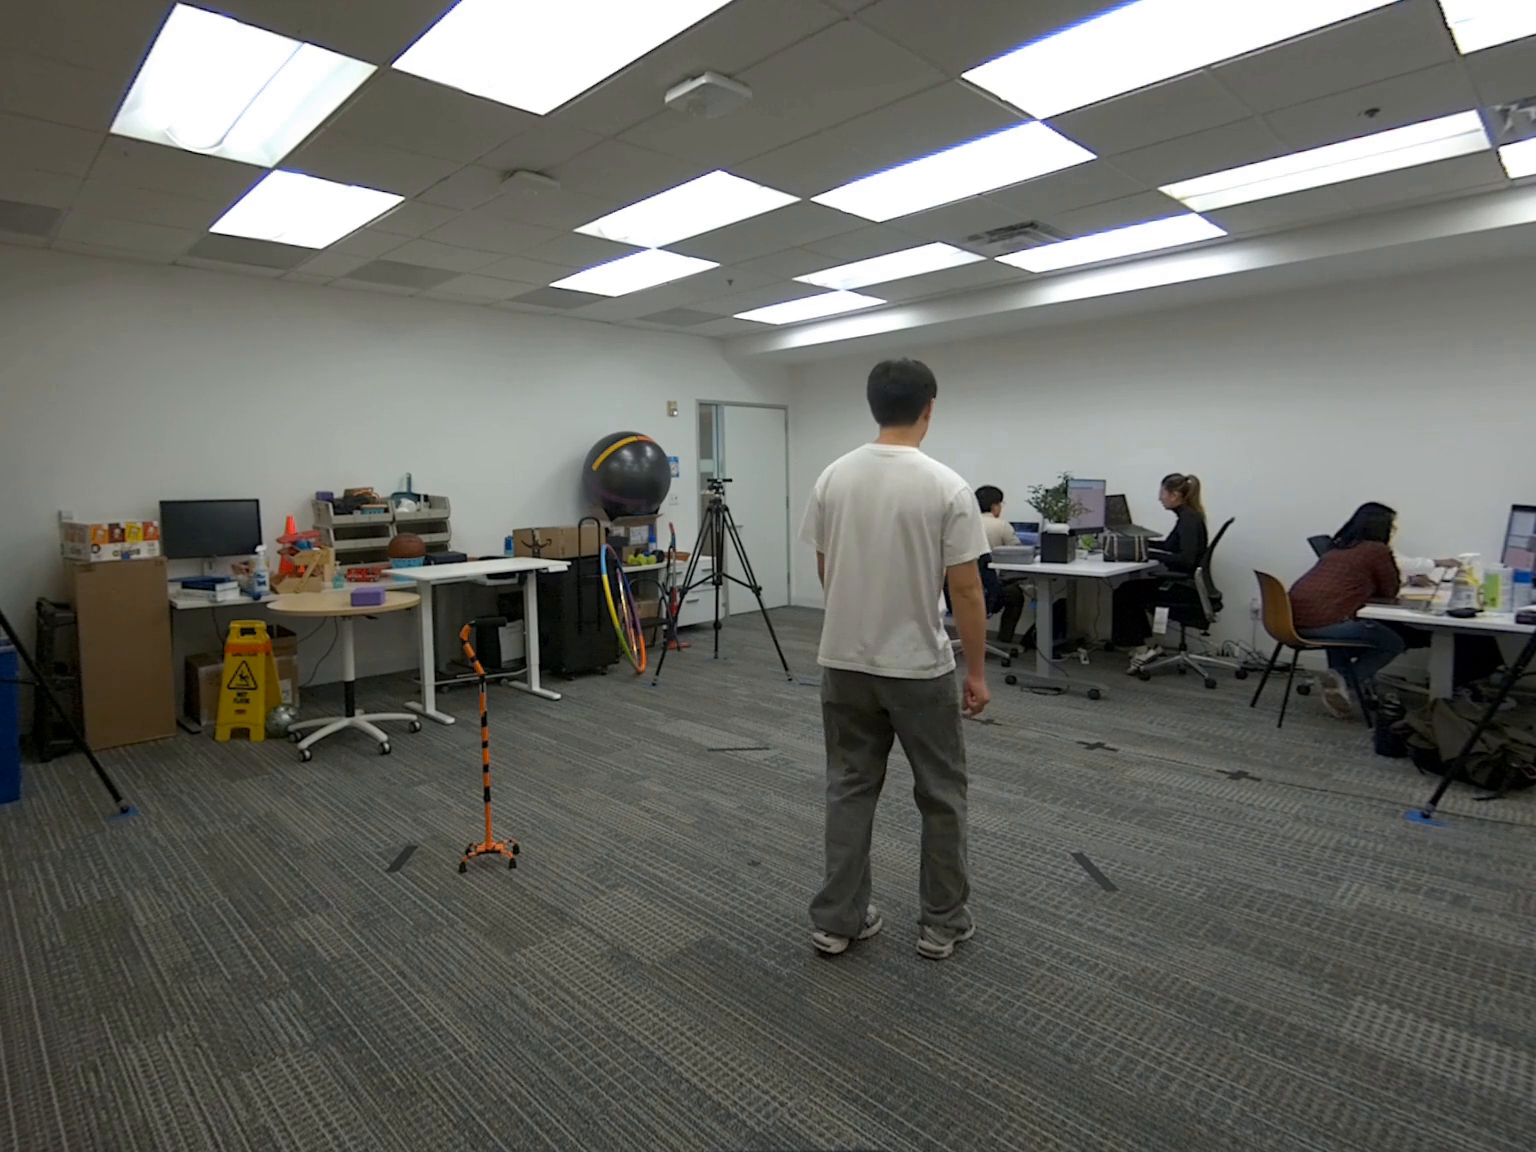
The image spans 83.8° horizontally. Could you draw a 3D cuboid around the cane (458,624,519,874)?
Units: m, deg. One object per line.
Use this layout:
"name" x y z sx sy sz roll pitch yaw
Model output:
"cane" -1.035 0.606 3.139 0.205 0.904 0.153 -2 4 -9
